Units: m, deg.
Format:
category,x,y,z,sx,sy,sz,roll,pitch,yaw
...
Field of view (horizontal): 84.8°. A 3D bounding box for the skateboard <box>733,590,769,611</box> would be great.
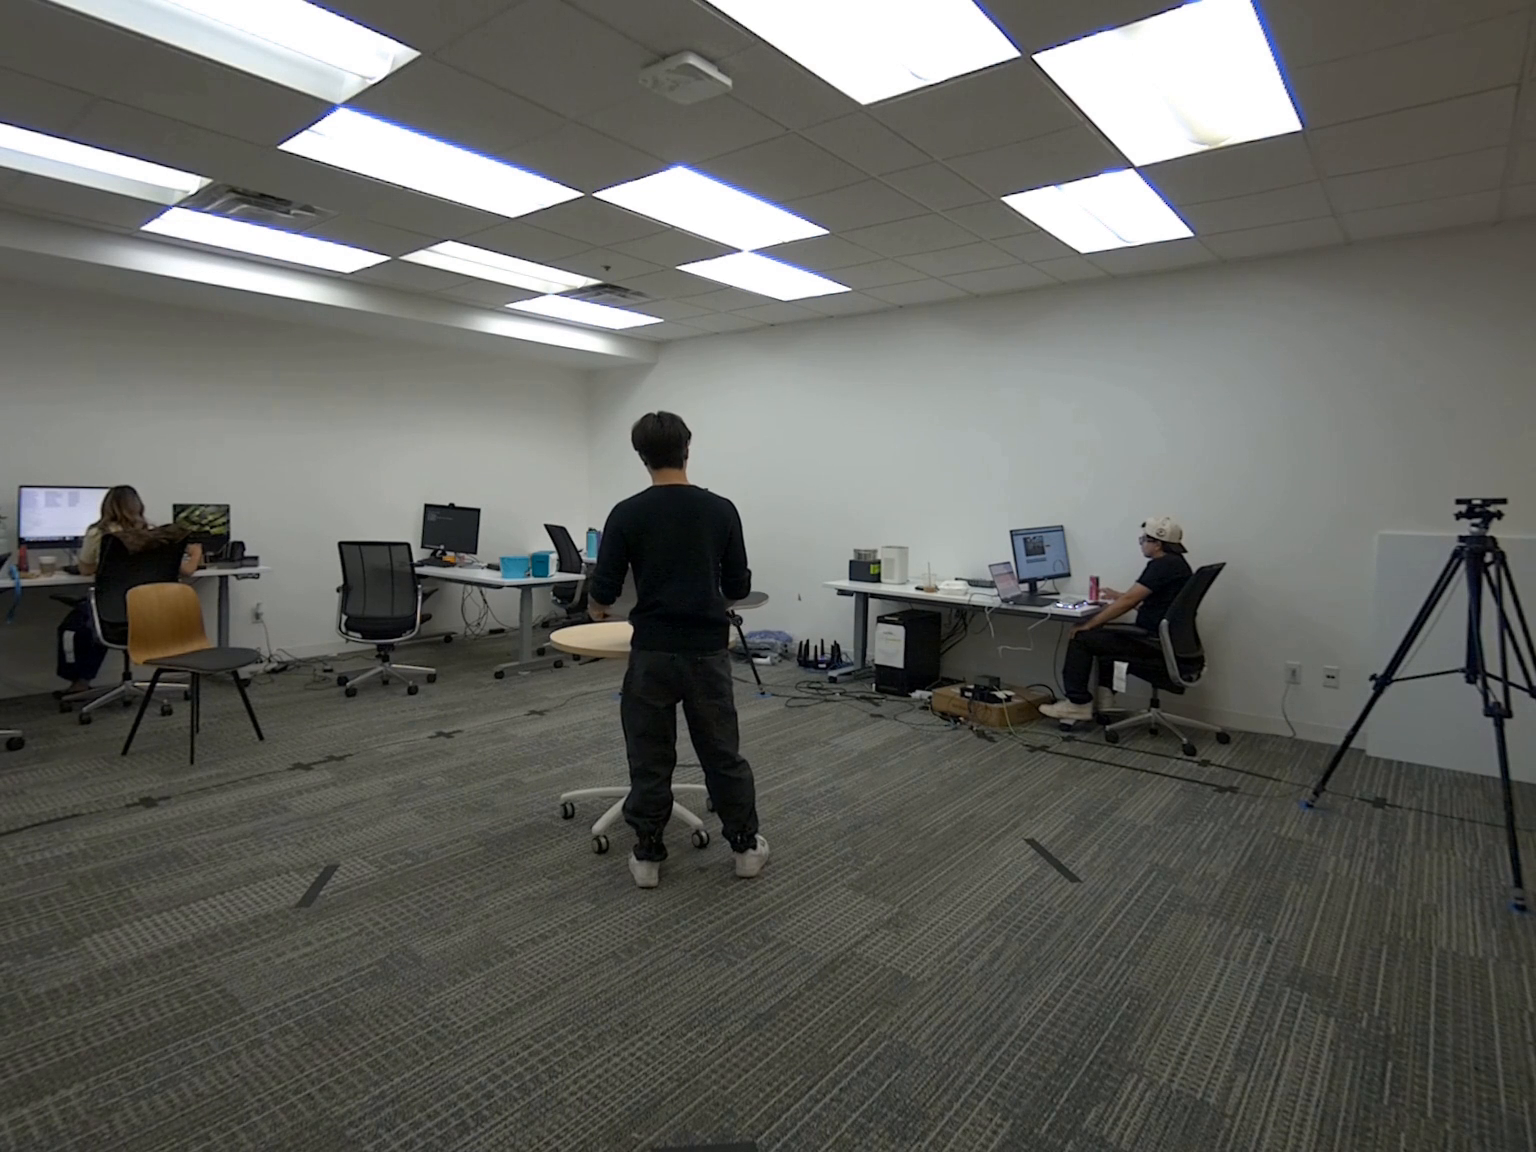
category,x,y,z,sx,sy,sz,roll,pitch,yaw
skateboard,-0.333,0.155,3.441,0.763,0.109,0.201,-4,15,-35
